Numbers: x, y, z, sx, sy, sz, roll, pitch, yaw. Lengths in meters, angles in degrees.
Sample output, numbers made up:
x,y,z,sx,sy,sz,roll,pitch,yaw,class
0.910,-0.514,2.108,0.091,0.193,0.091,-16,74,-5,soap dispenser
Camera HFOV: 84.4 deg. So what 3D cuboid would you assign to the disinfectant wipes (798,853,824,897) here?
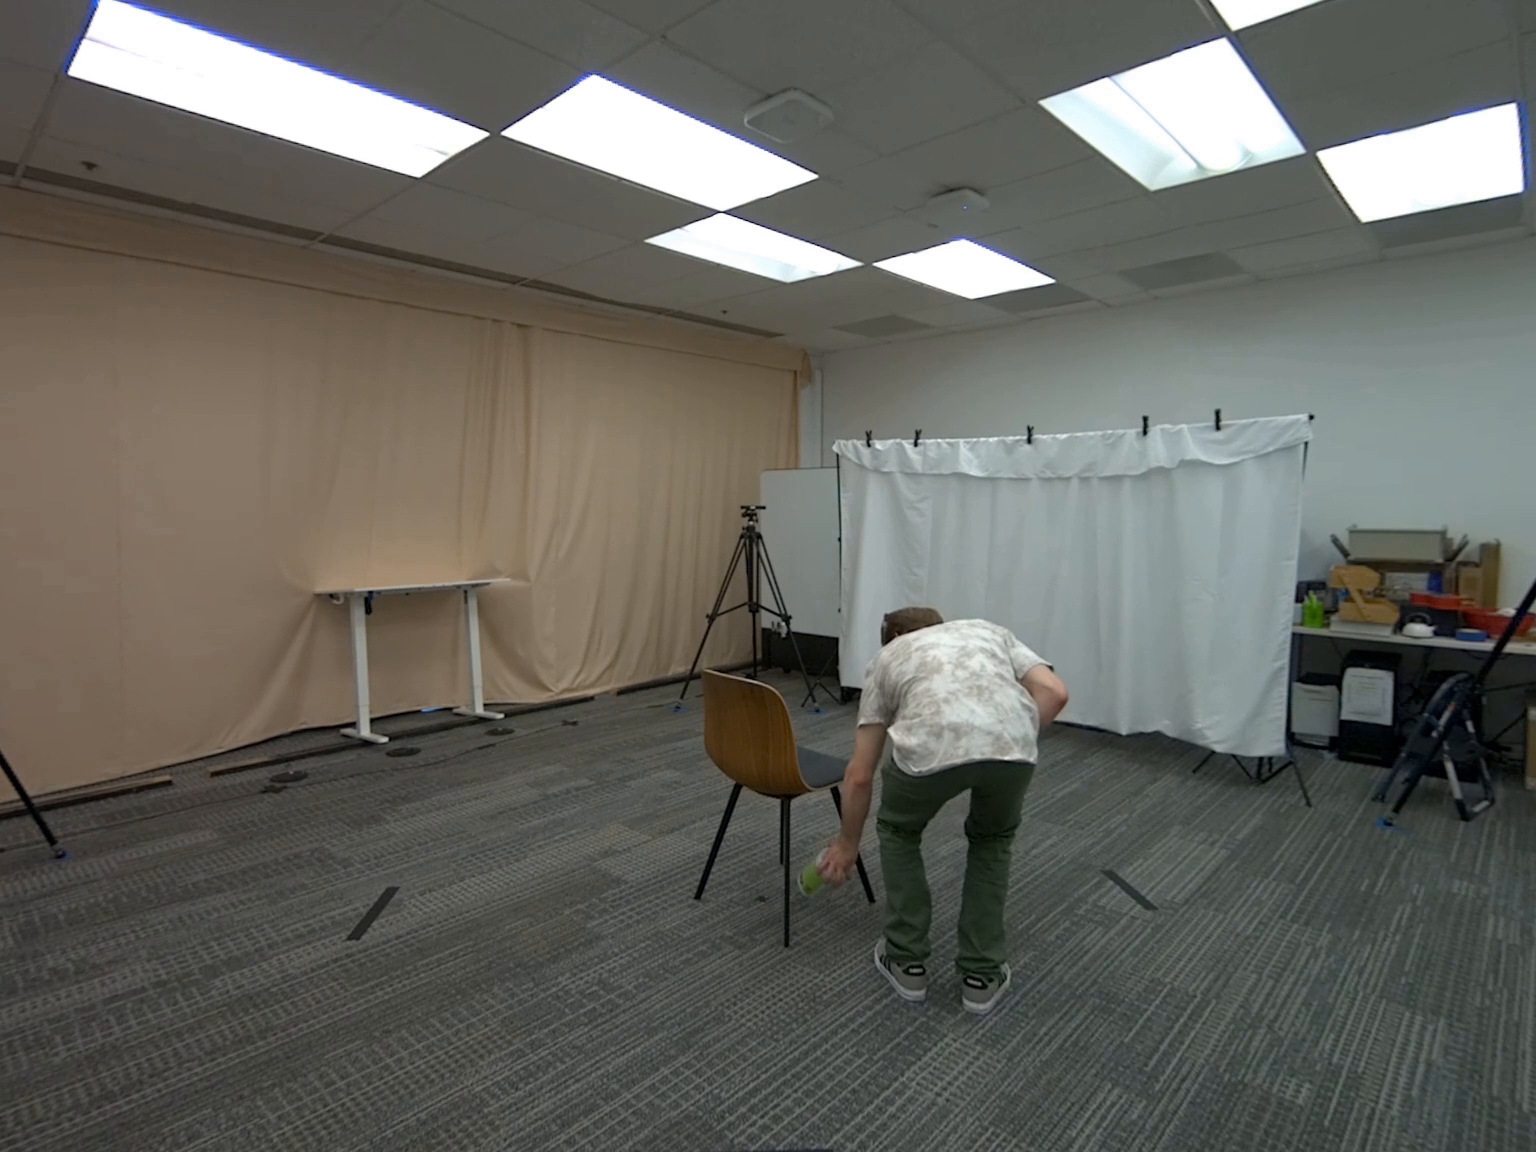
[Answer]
x,y,z,sx,sy,sz,roll,pitch,yaw,class
0.190,0.982,2.781,0.116,0.121,0.216,-1,-40,-17,disinfectant wipes
